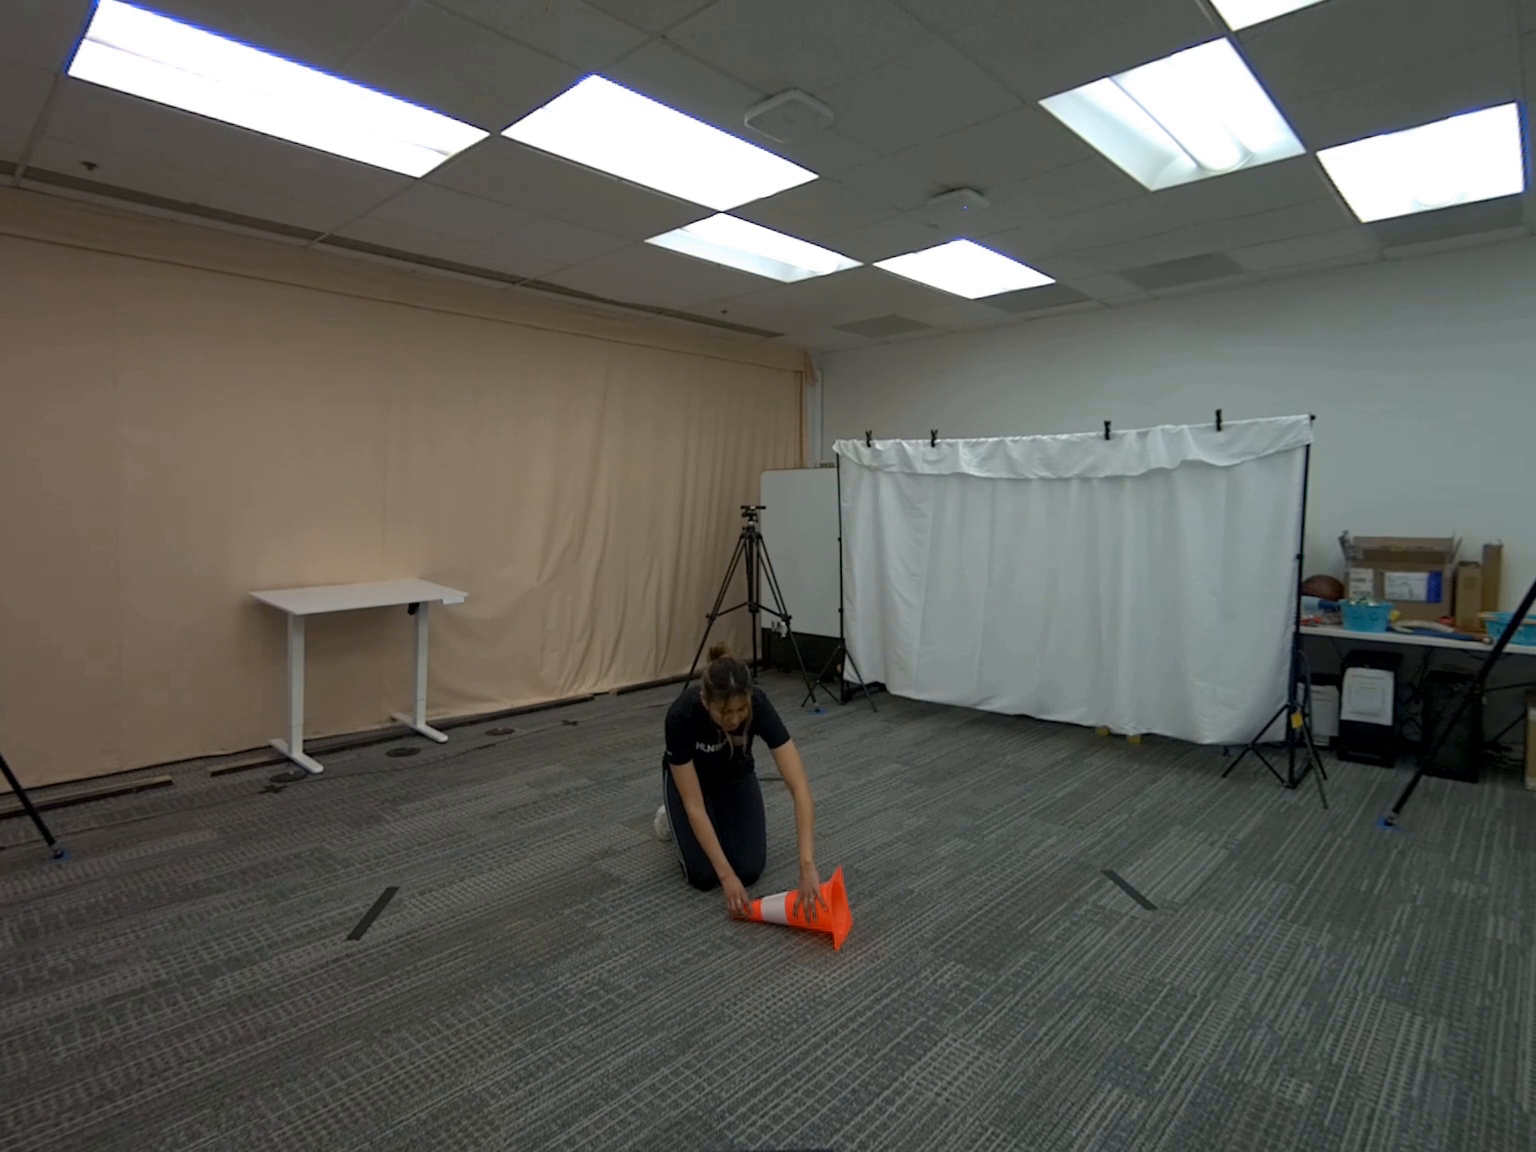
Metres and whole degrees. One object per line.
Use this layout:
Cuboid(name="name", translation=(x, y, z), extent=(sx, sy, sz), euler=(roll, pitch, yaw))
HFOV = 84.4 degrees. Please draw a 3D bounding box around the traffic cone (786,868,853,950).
Cuboid(name="traffic cone", translation=(0.061, 1.107, 2.788), extent=(0.391, 0.204, 0.200), euler=(-11, -2, 21))
